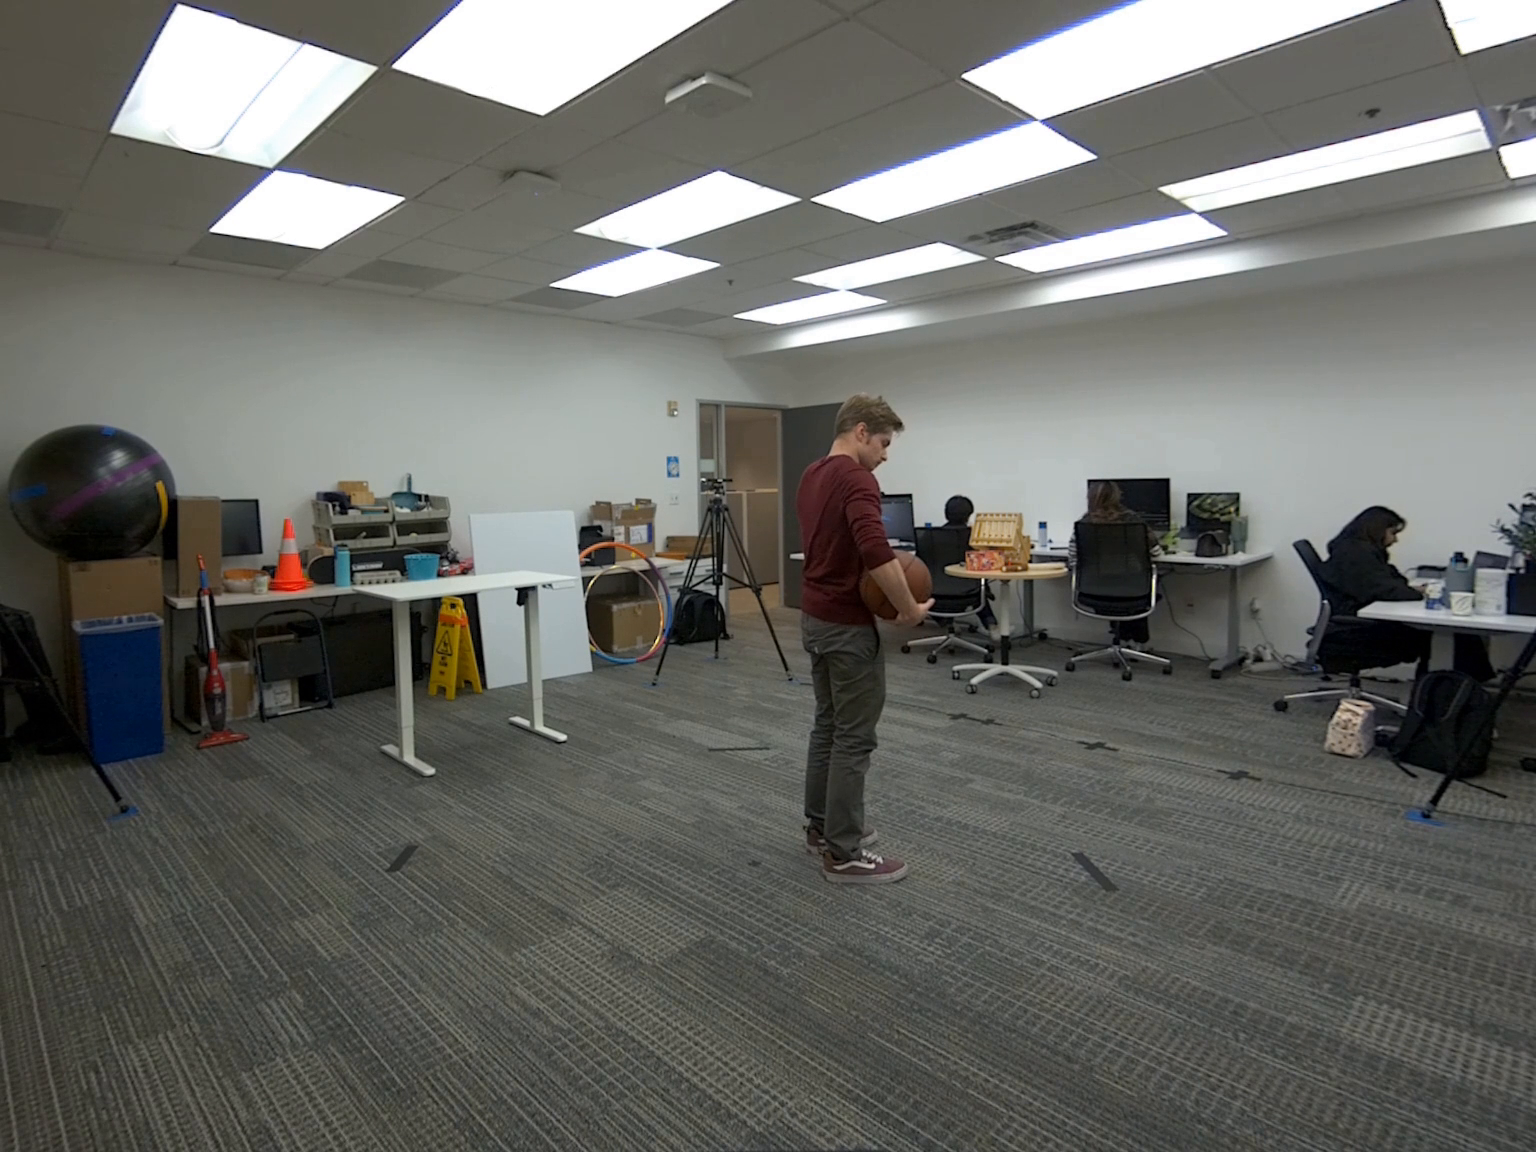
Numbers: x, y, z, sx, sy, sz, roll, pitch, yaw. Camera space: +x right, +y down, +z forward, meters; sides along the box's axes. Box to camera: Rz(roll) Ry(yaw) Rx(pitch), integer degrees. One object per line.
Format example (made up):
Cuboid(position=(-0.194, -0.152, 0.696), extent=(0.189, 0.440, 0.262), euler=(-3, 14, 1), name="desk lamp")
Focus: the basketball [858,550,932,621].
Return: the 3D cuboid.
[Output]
Cuboid(position=(0.445, 0.034, 2.863), extent=(0.236, 0.235, 0.237), euler=(-1, 5, -2), name="basketball")
